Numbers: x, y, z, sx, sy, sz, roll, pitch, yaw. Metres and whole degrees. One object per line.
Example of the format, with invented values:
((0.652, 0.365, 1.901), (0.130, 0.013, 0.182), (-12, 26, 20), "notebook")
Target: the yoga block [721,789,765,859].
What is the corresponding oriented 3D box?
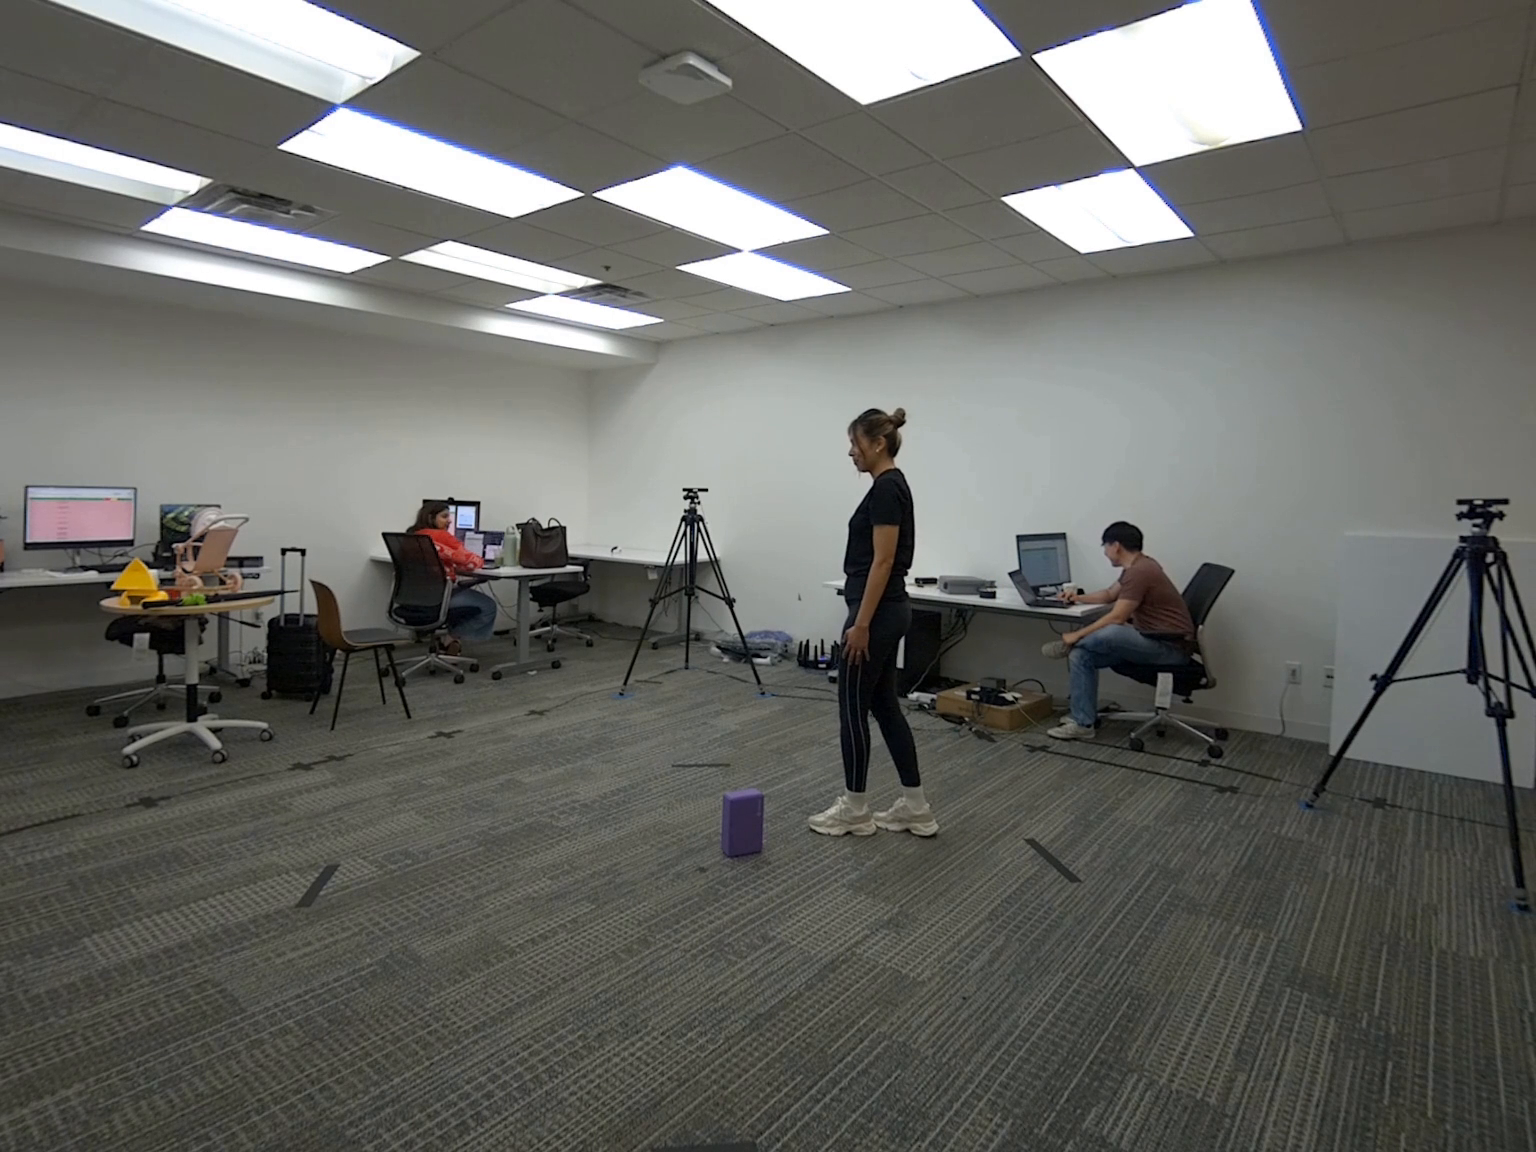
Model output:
((-0.106, 0.938, 3.260), (0.145, 0.229, 0.079), (-1, 4, -29), "yoga block")
